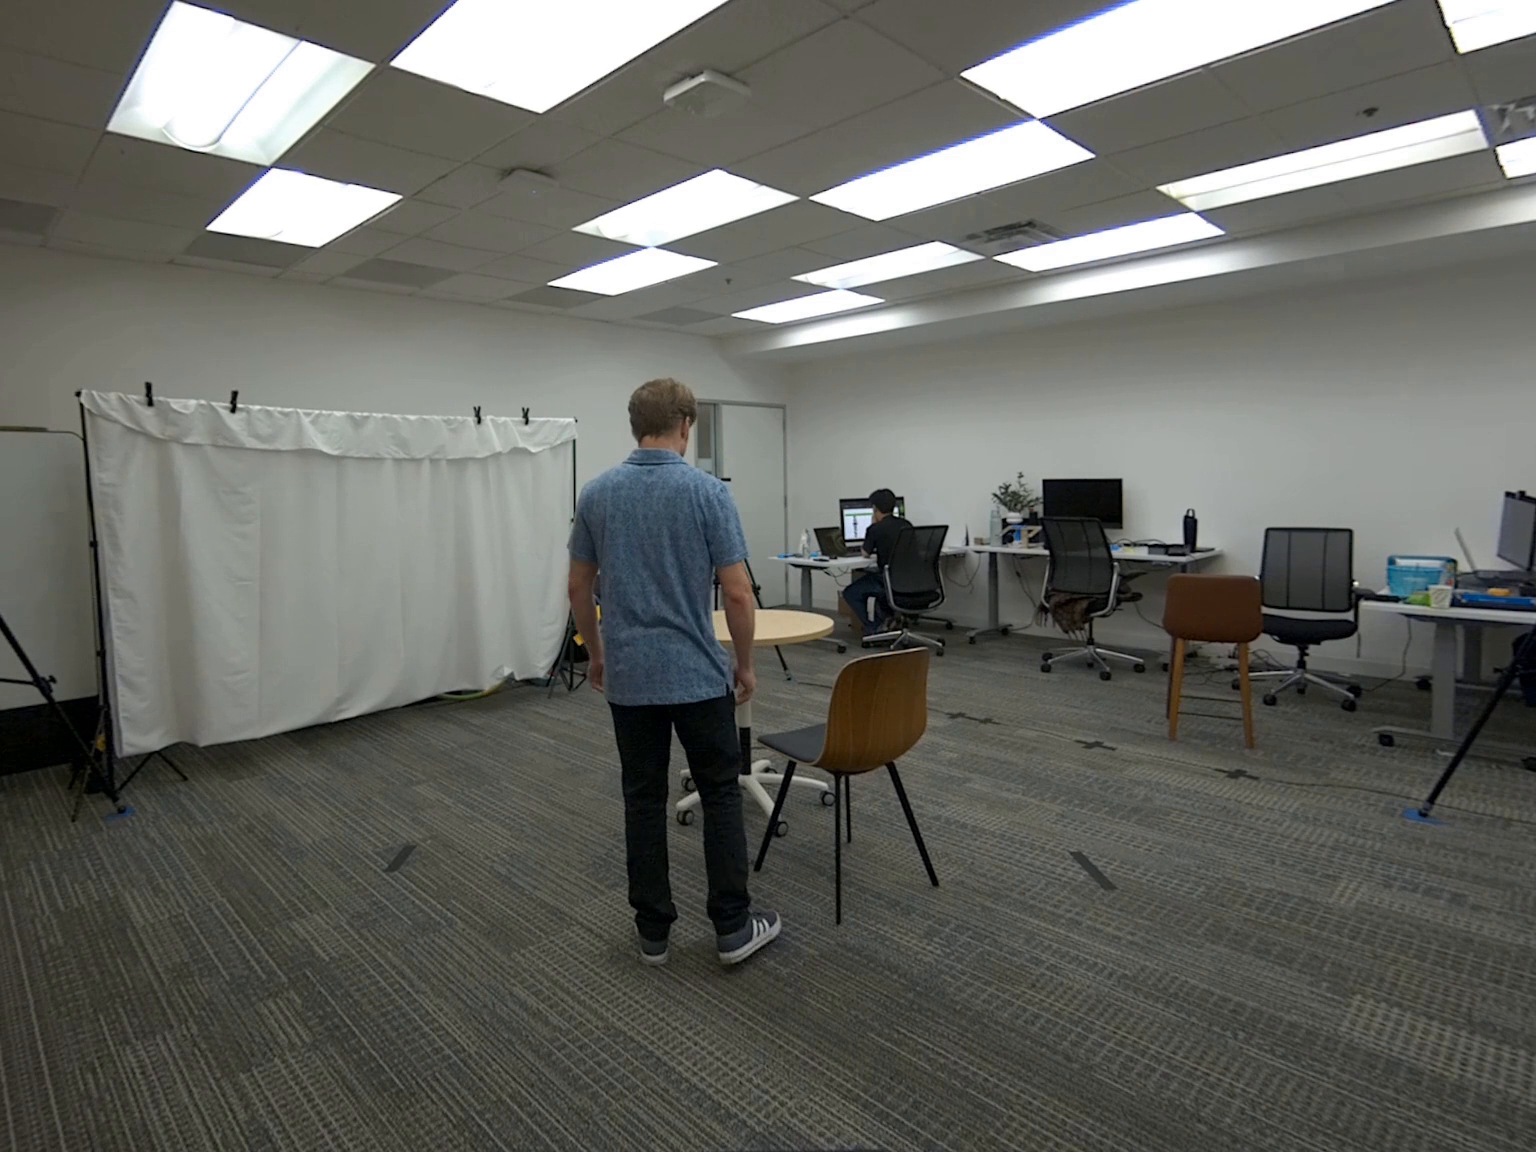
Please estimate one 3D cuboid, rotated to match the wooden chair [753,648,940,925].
[{"bbox_3d":[0.255,0.627,2.944,0.466,0.871,0.540,-4,10,-35],"label":"wooden chair"}]
